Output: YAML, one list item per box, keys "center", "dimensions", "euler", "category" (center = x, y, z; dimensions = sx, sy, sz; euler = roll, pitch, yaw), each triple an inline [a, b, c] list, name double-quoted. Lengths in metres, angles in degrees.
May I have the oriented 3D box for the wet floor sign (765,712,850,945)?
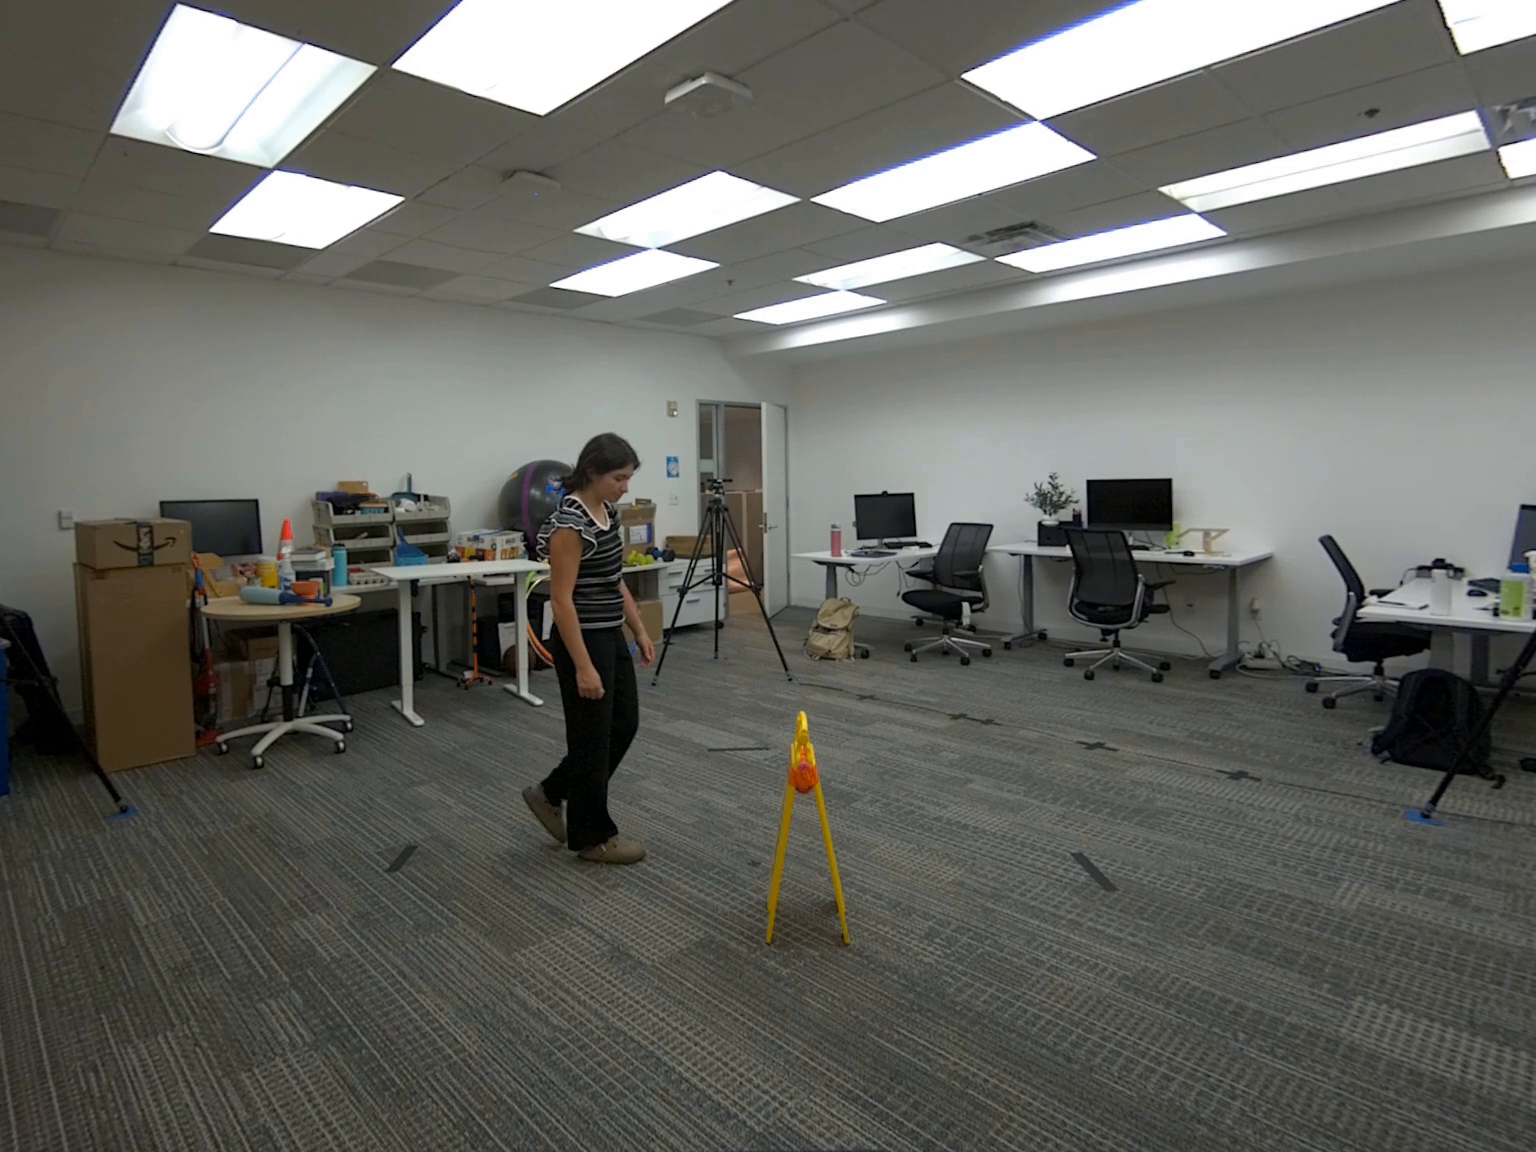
- center: [0.114, 0.769, 2.671]
  dimensions: [0.290, 0.645, 0.282]
  euler: [-2, 2, 2]
  category: "wet floor sign"
